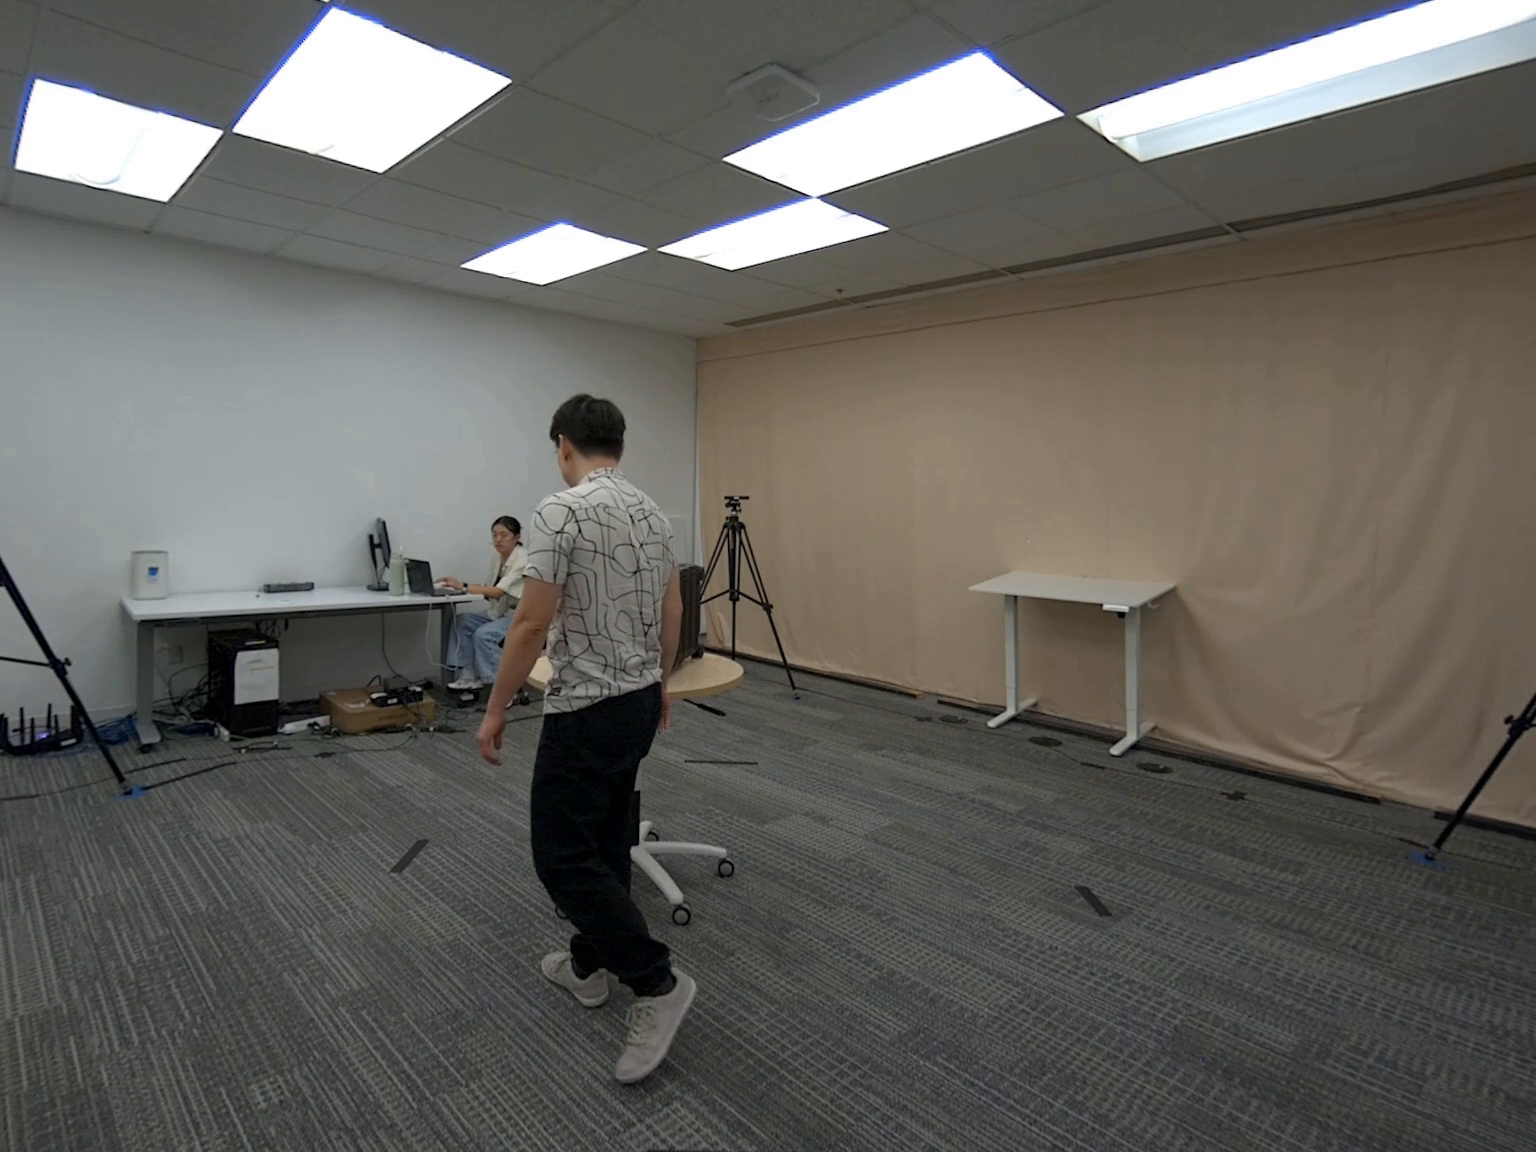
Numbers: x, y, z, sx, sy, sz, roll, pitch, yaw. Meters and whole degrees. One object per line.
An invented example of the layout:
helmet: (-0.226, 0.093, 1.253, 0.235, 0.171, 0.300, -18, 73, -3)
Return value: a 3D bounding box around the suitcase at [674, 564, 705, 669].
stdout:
suitcase: (-0.418, 0.140, 2.958, 0.251, 0.374, 0.545, 4, 5, 11)
